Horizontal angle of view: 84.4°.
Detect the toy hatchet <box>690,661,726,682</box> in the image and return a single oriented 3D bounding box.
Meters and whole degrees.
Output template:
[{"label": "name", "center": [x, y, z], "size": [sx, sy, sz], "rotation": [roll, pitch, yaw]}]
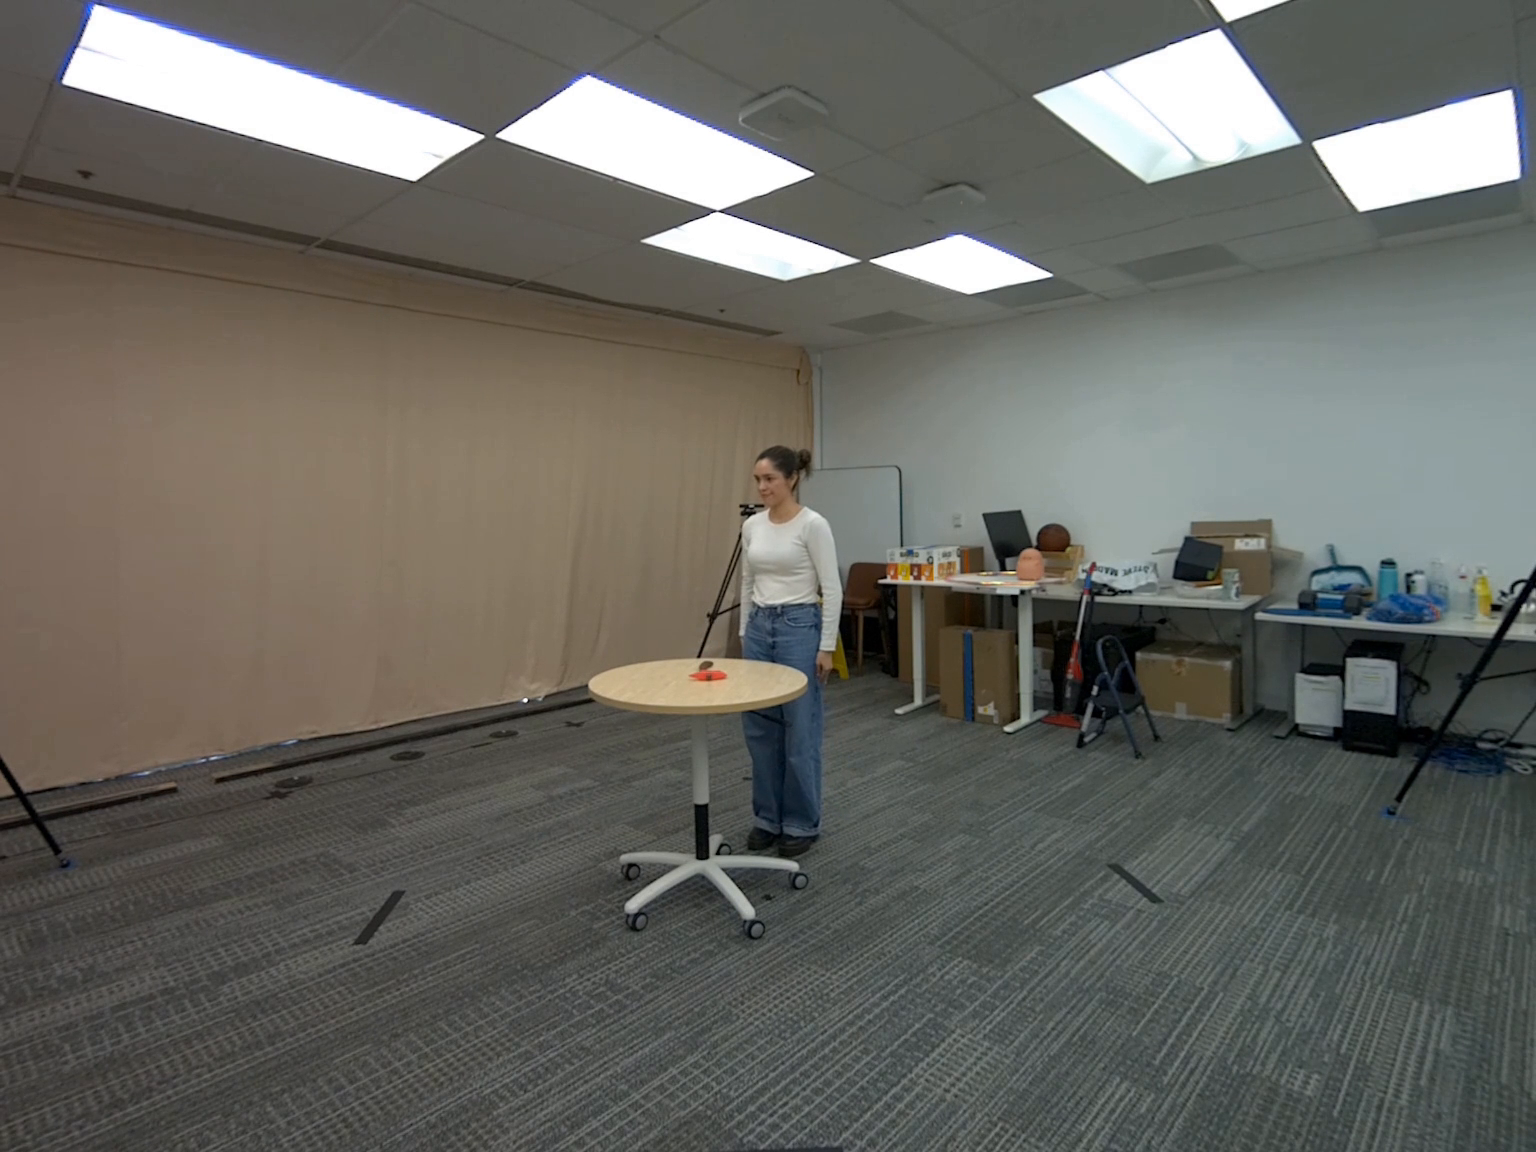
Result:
[{"label": "toy hatchet", "center": [-0.194, 0.340, 3.044], "size": [0.132, 0.029, 0.268], "rotation": [1, 5, 8]}]
